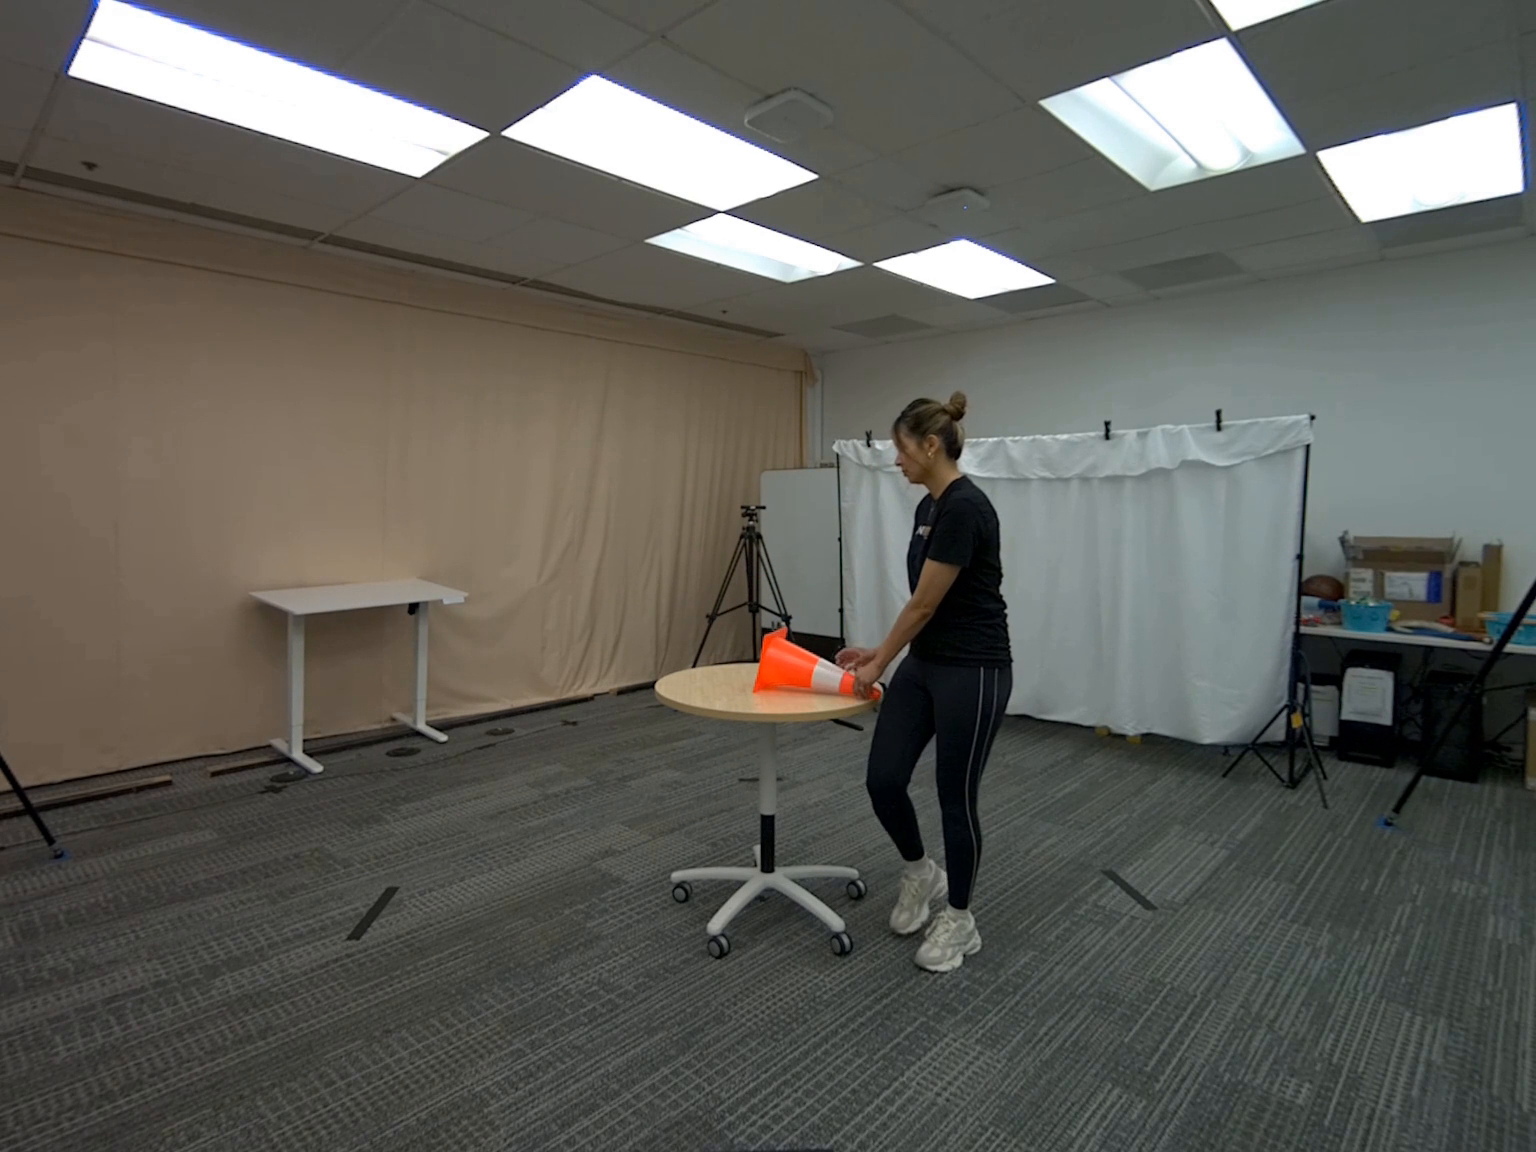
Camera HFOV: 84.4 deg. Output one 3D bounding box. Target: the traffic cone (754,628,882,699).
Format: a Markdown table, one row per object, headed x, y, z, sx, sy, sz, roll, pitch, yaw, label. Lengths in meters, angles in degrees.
| x | y | z | sx | sy | sz | roll | pitch | yaw | label |
| --- | --- | --- | --- | --- | --- | --- | --- | --- | --- |
| 0.181 | 0.338 | 2.714 | 0.395 | 0.204 | 0.198 | 19 | 13 | 25 | traffic cone |
